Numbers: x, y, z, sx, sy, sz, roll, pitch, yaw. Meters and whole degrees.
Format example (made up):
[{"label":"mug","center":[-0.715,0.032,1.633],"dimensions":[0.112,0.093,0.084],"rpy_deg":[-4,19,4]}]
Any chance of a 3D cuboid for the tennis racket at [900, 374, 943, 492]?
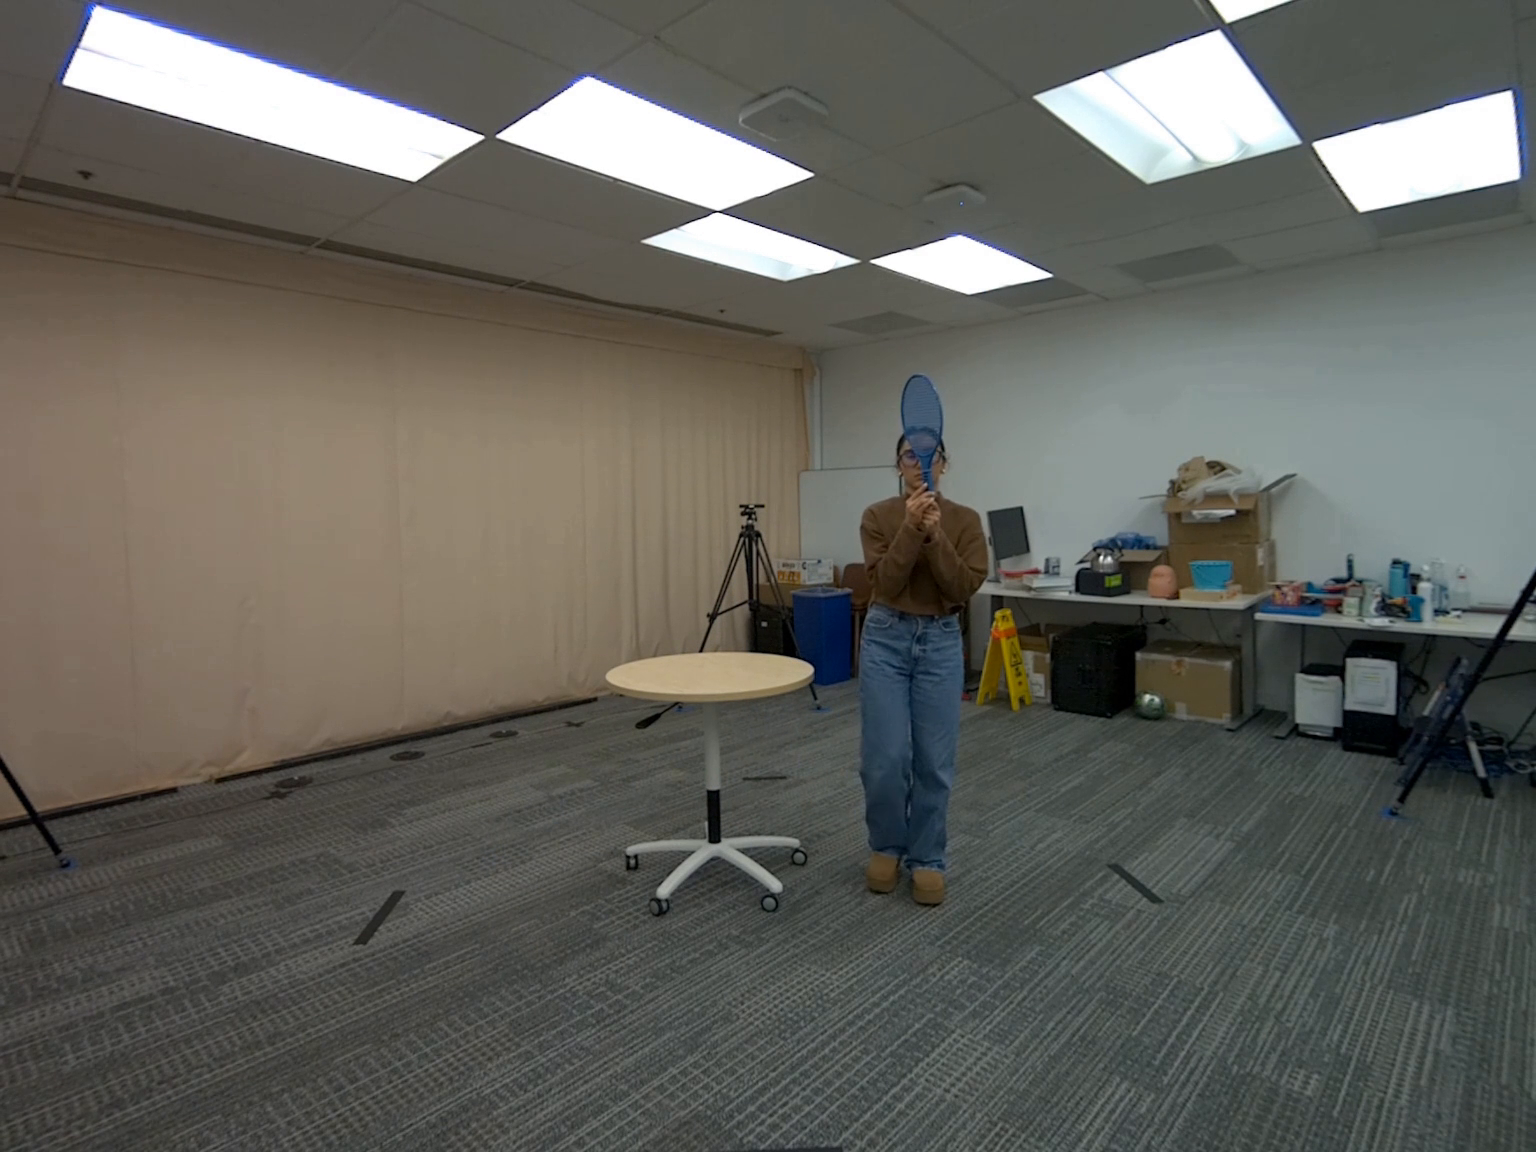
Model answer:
[{"label":"tennis racket","center":[0.513,-0.442,2.755],"dimensions":[0.031,0.430,0.219],"rpy_deg":[-10,10,-21]}]
